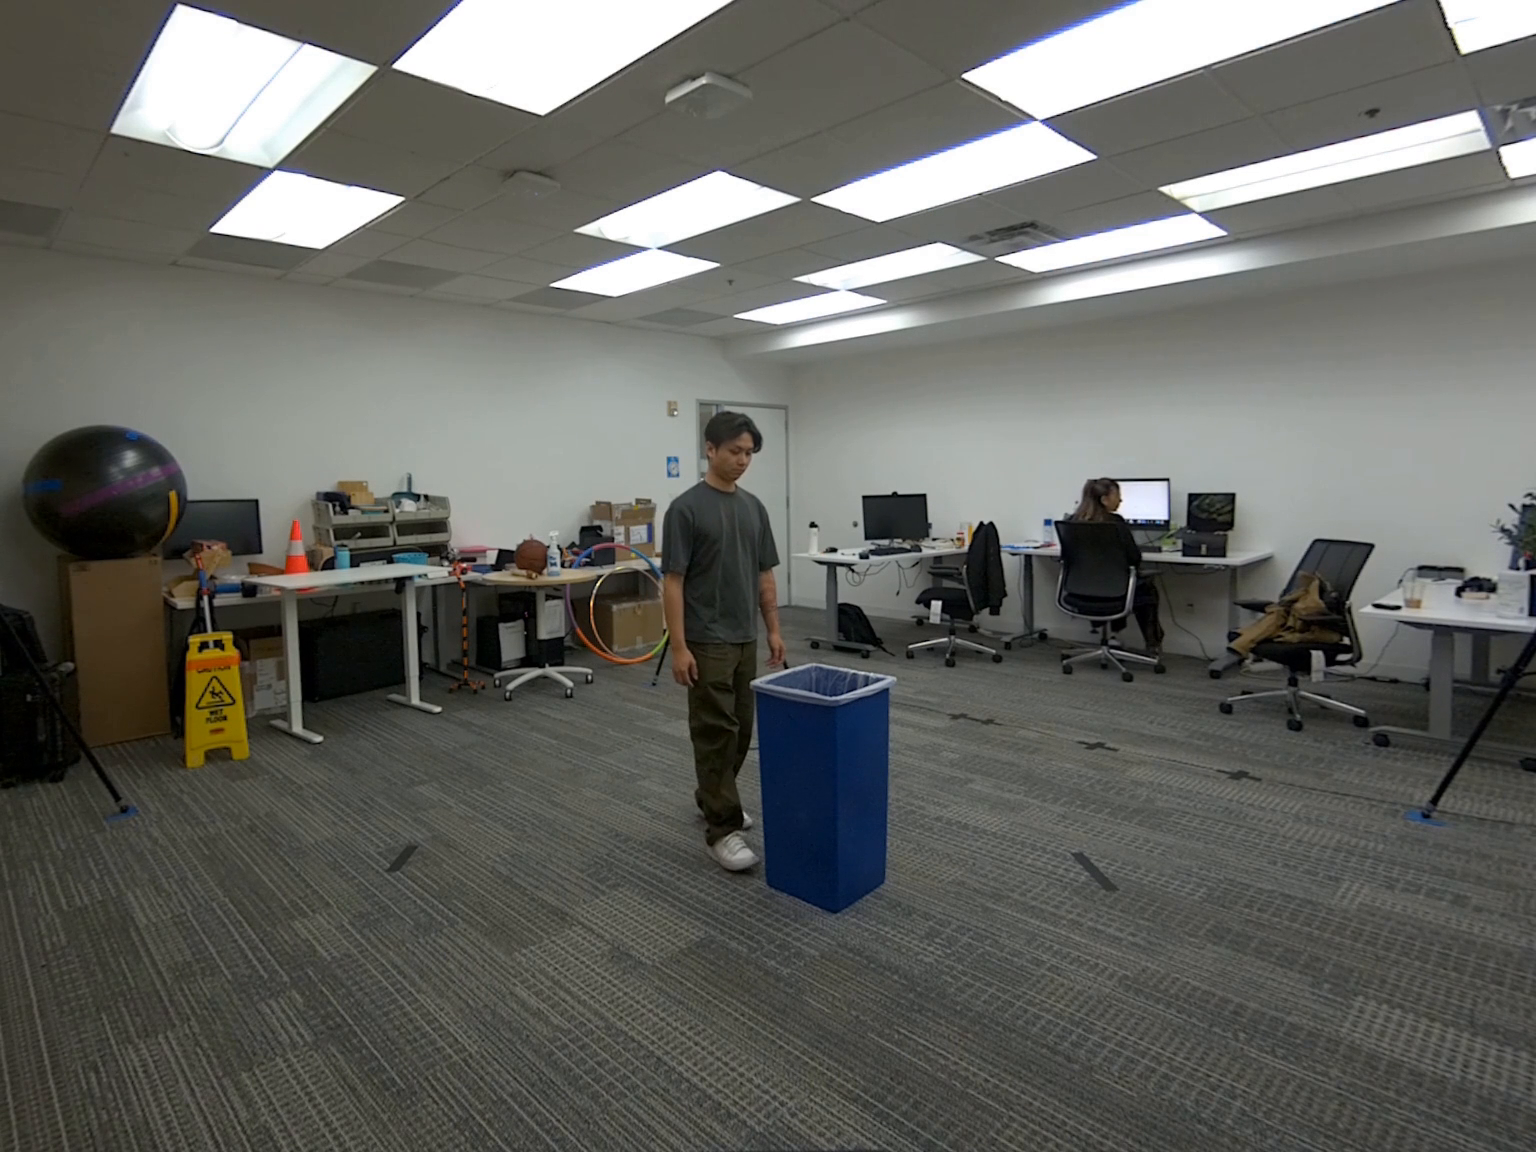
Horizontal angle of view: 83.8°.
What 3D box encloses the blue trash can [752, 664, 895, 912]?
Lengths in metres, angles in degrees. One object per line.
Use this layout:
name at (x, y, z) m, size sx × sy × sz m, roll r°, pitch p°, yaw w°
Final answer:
blue trash can at (0.204, 0.704, 2.913) m, size 0.385 × 0.711 × 0.368 m, roll 1°, pitch 5°, yaw 41°
